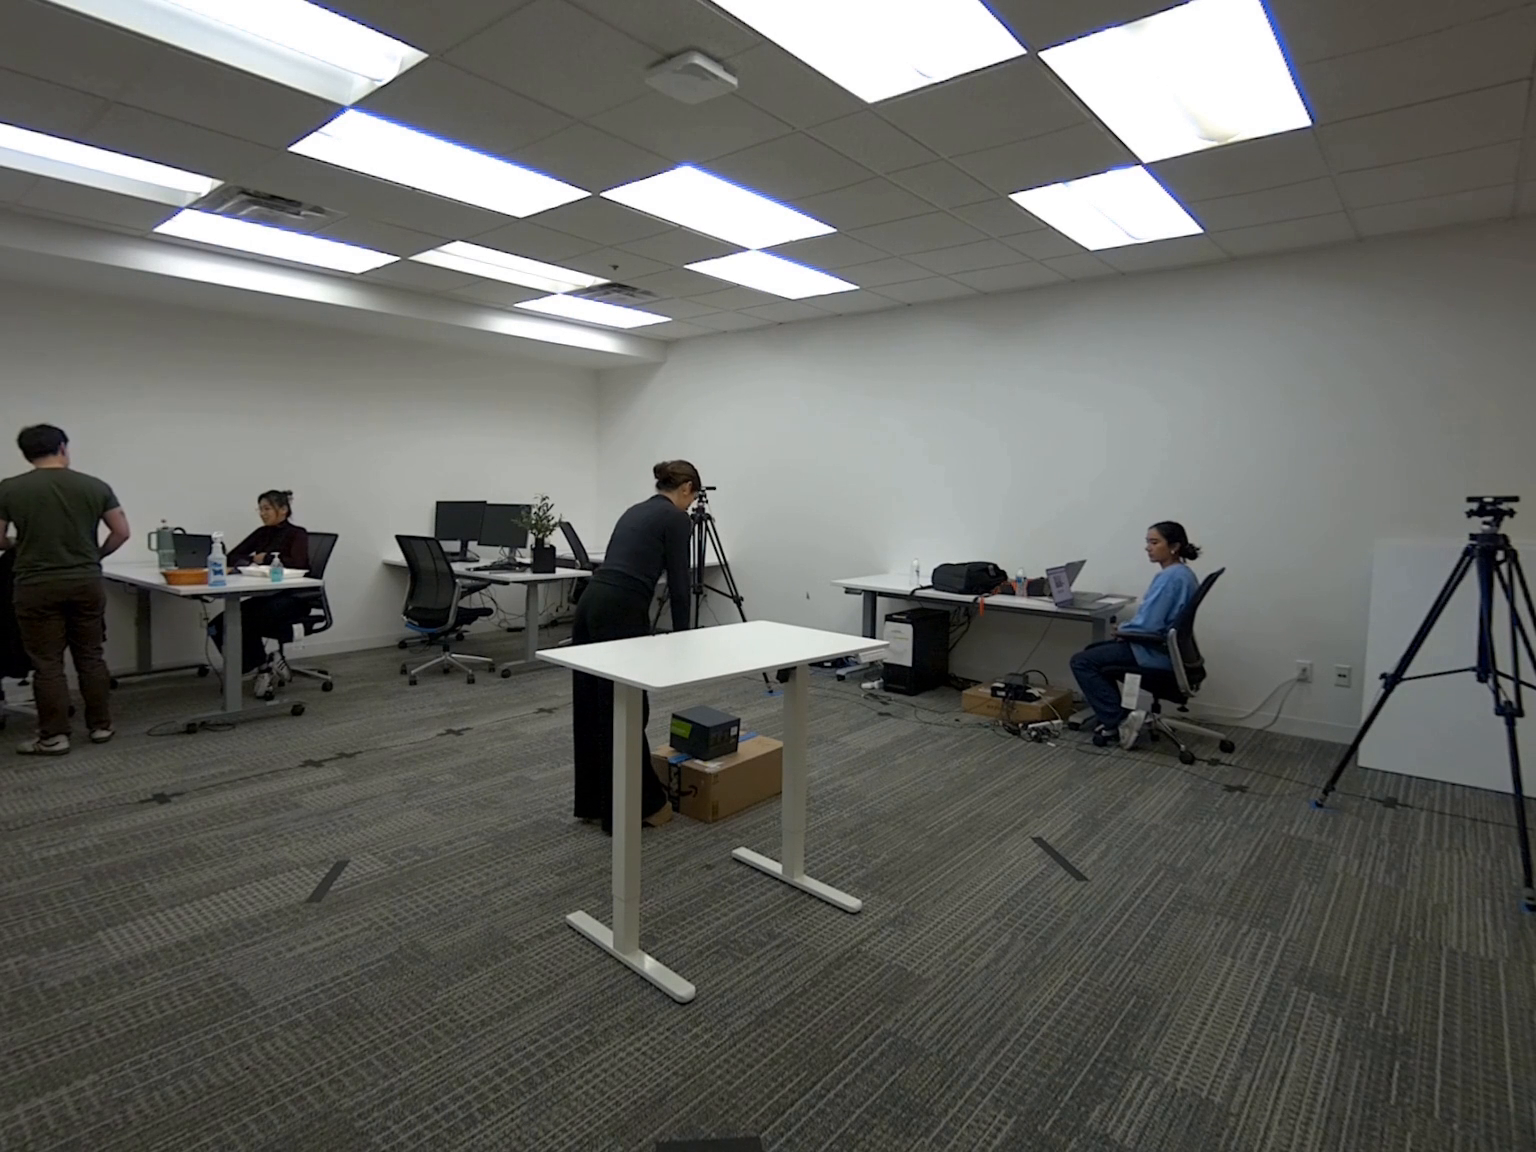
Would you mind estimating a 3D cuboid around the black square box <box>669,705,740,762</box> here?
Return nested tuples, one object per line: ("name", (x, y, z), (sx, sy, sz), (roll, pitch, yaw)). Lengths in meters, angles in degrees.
("black square box", (-0.296, 0.689, 3.788), (0.236, 0.155, 0.210), (10, 9, 38))
